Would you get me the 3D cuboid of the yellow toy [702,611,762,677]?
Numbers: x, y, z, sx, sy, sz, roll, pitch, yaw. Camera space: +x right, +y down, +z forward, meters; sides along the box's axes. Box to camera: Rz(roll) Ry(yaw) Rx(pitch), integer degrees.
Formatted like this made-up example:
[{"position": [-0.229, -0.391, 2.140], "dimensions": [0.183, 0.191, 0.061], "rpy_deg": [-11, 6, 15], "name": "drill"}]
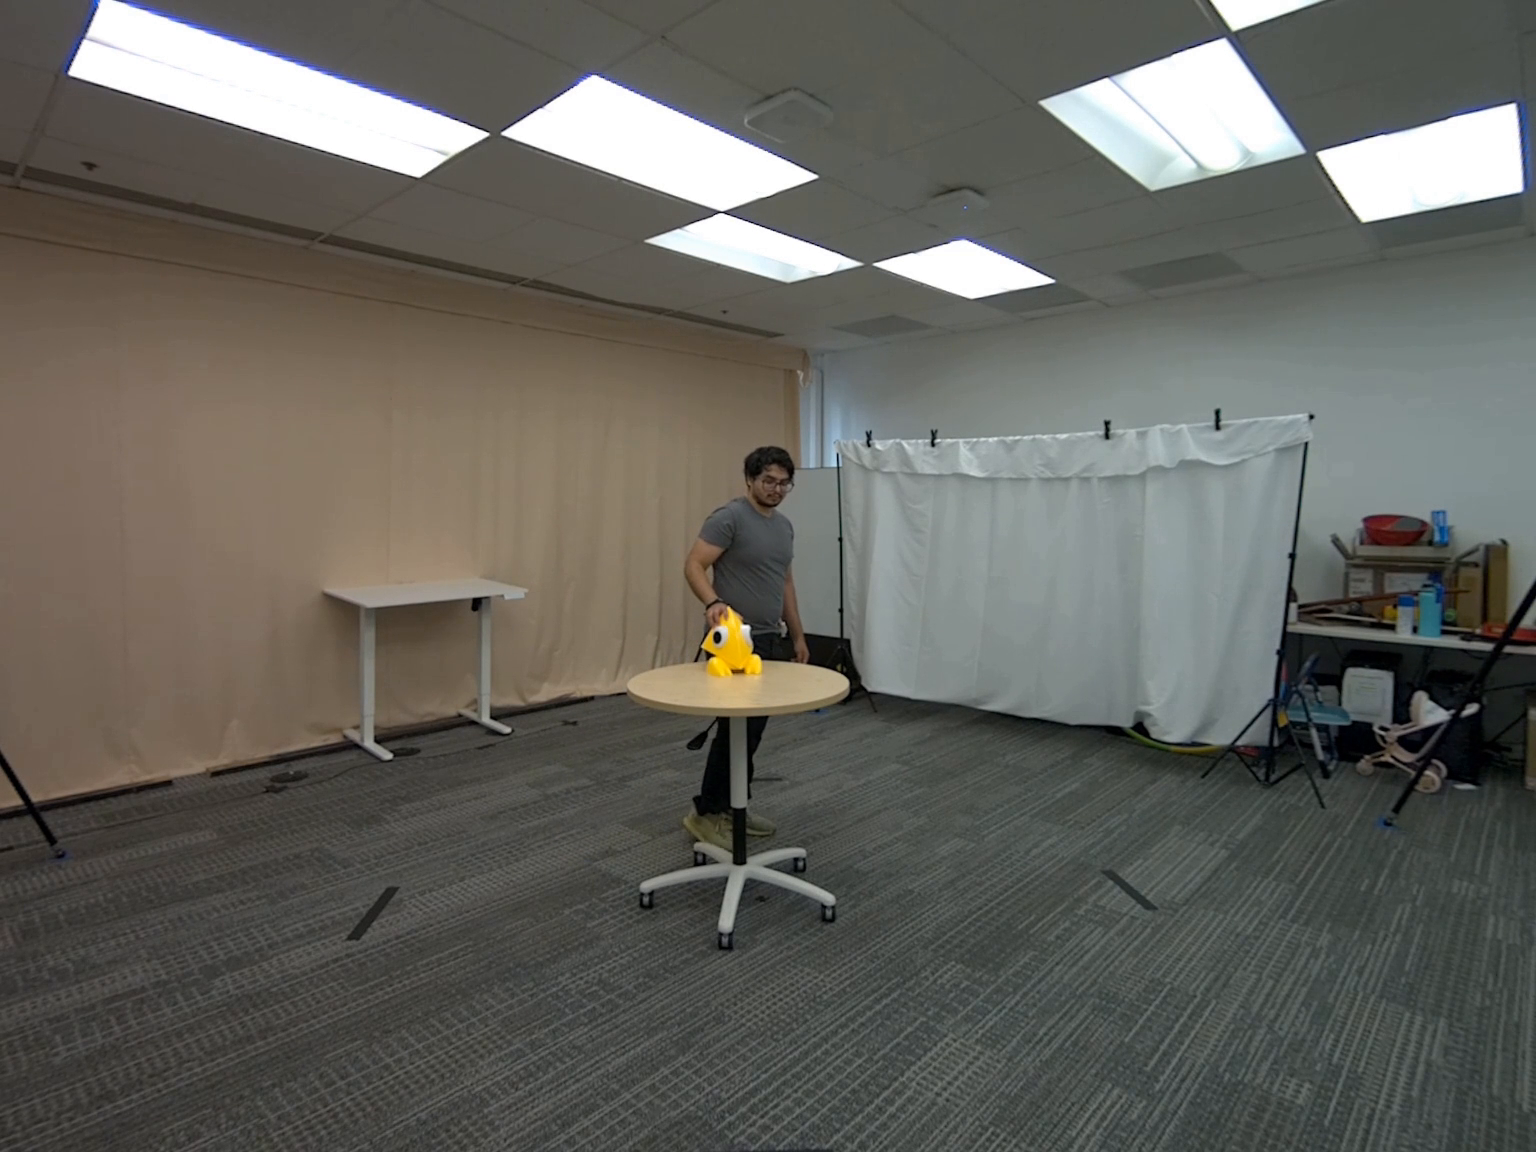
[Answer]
[{"position": [-0.123, 0.234, 3.092], "dimensions": [0.201, 0.230, 0.197], "rpy_deg": [-1, 4, -16], "name": "yellow toy"}]
